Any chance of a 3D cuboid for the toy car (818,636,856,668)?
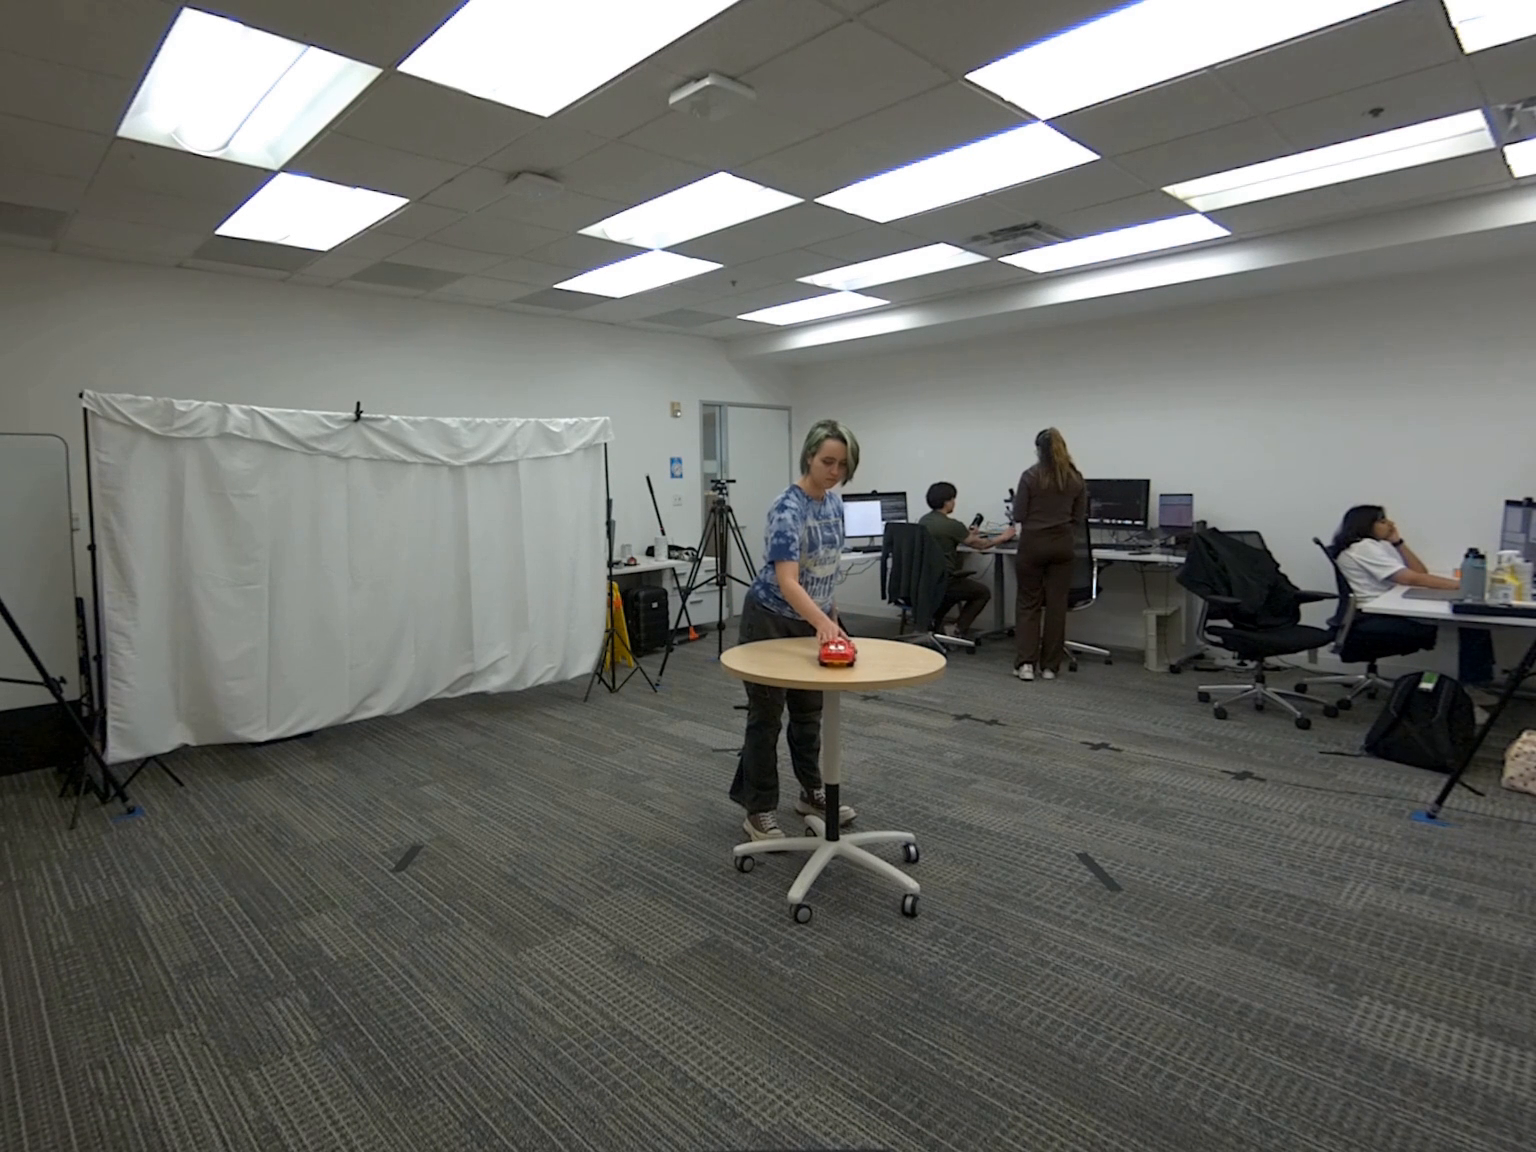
[{"bbox_3d":[0.233,0.259,2.842,0.131,0.084,0.250,-1,-6,8],"label":"toy car"}]
